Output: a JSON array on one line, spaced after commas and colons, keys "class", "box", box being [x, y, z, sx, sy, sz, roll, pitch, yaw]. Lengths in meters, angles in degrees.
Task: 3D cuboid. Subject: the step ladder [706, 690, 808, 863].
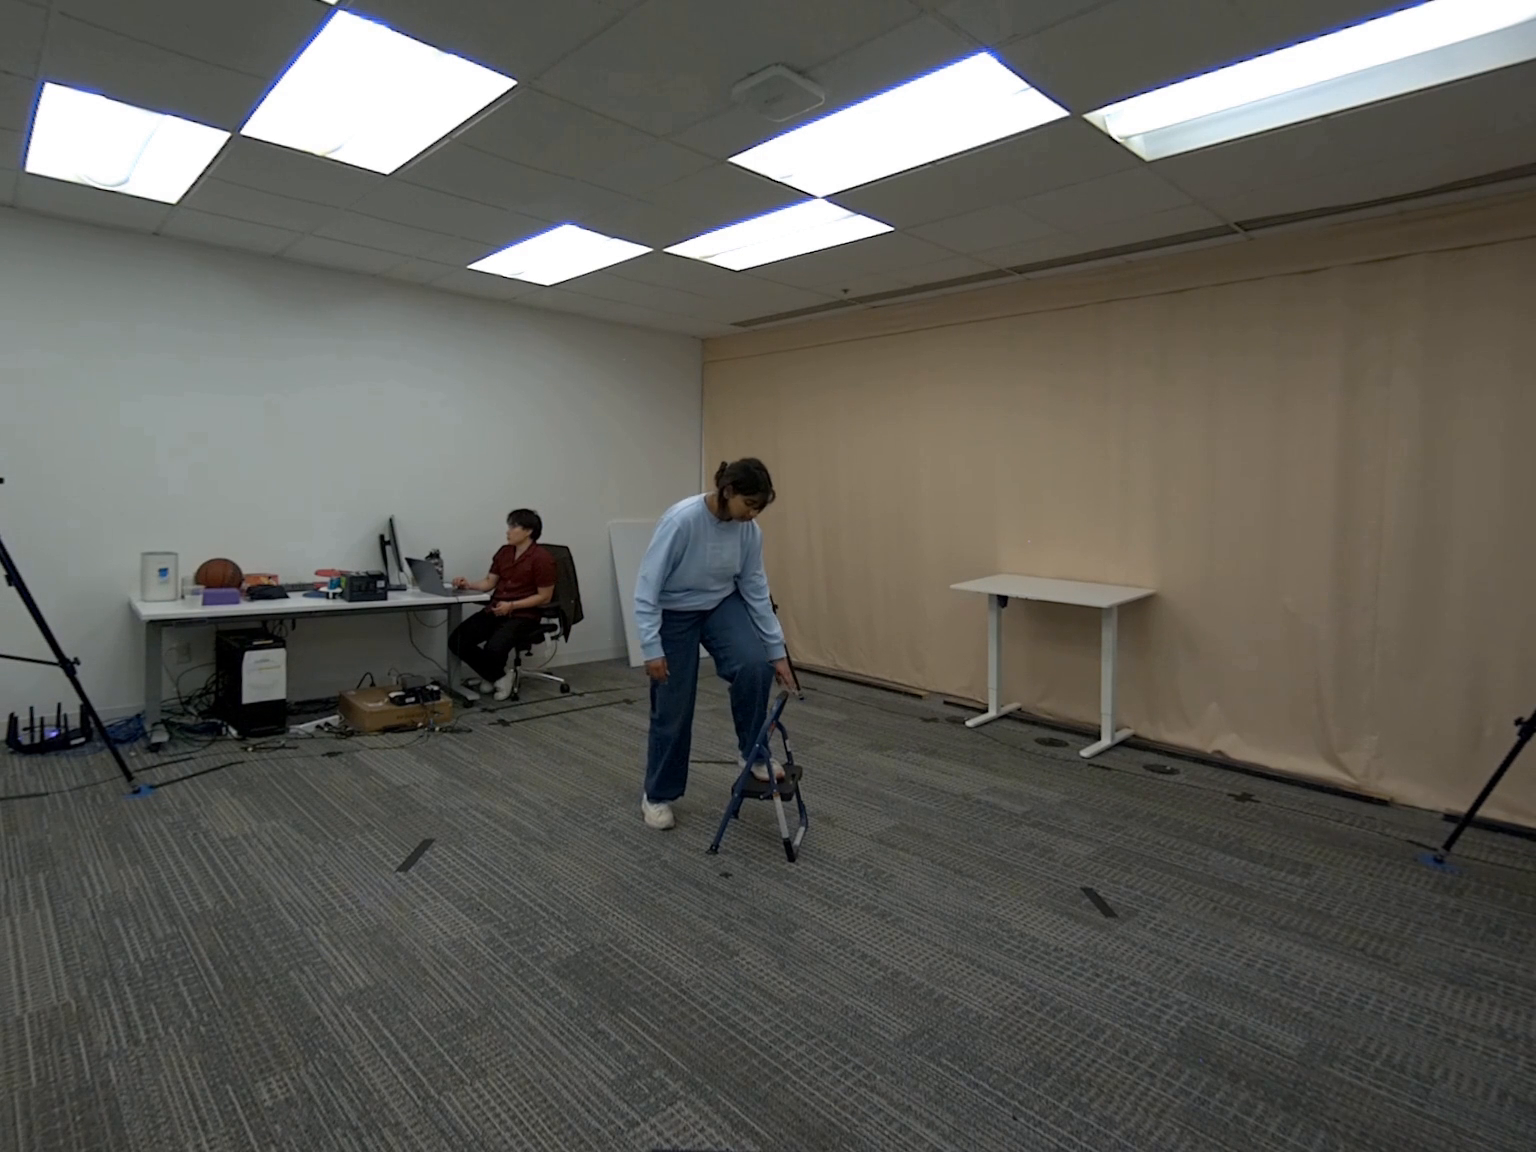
[{"class": "step ladder", "box": [-0.029, 0.778, 3.439, 0.352, 0.604, 0.427, 1, 4, 11]}]
